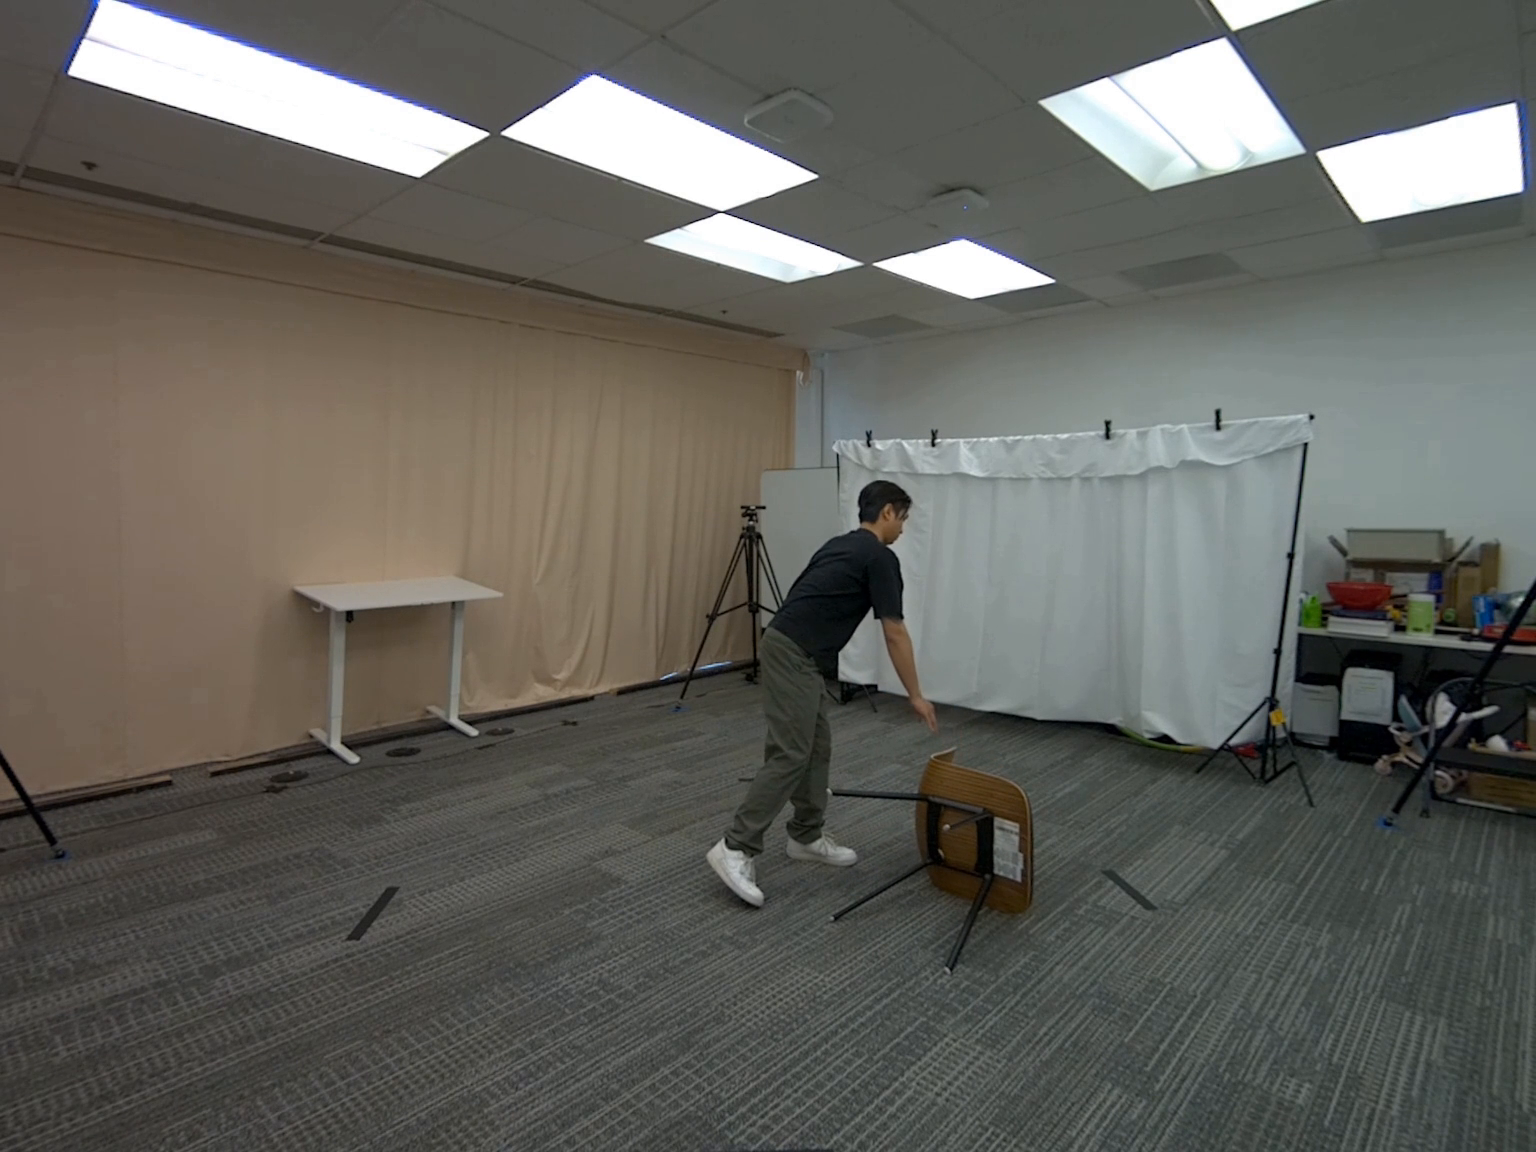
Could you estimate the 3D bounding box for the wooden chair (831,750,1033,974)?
[{"bbox_3d":[0.673,0.917,2.927,0.540,0.477,0.851,2,5,40],"label":"wooden chair"}]
